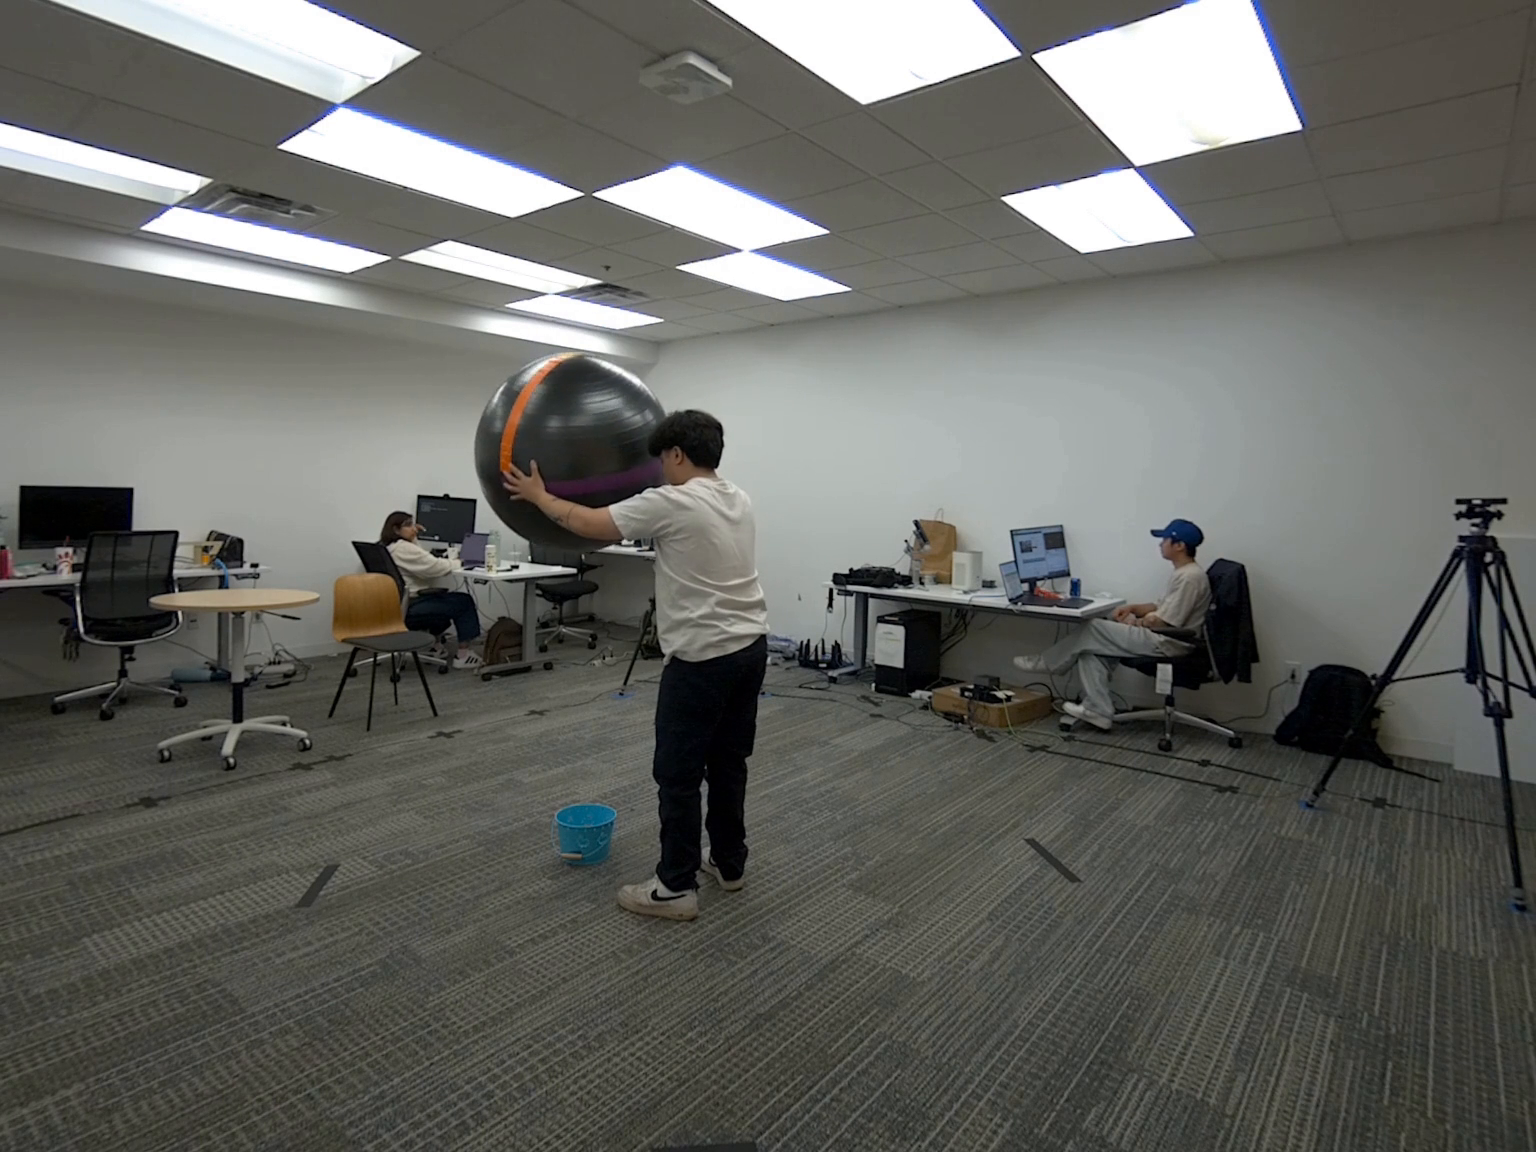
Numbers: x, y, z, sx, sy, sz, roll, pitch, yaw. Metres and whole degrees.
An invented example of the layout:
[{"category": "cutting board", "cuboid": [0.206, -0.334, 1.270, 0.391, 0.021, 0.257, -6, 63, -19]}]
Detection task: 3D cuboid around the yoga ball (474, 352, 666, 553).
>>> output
[{"category": "yoga ball", "cuboid": [-0.758, -0.467, 3.288, 0.757, 0.755, 0.762, 1, 4, -2]}]
